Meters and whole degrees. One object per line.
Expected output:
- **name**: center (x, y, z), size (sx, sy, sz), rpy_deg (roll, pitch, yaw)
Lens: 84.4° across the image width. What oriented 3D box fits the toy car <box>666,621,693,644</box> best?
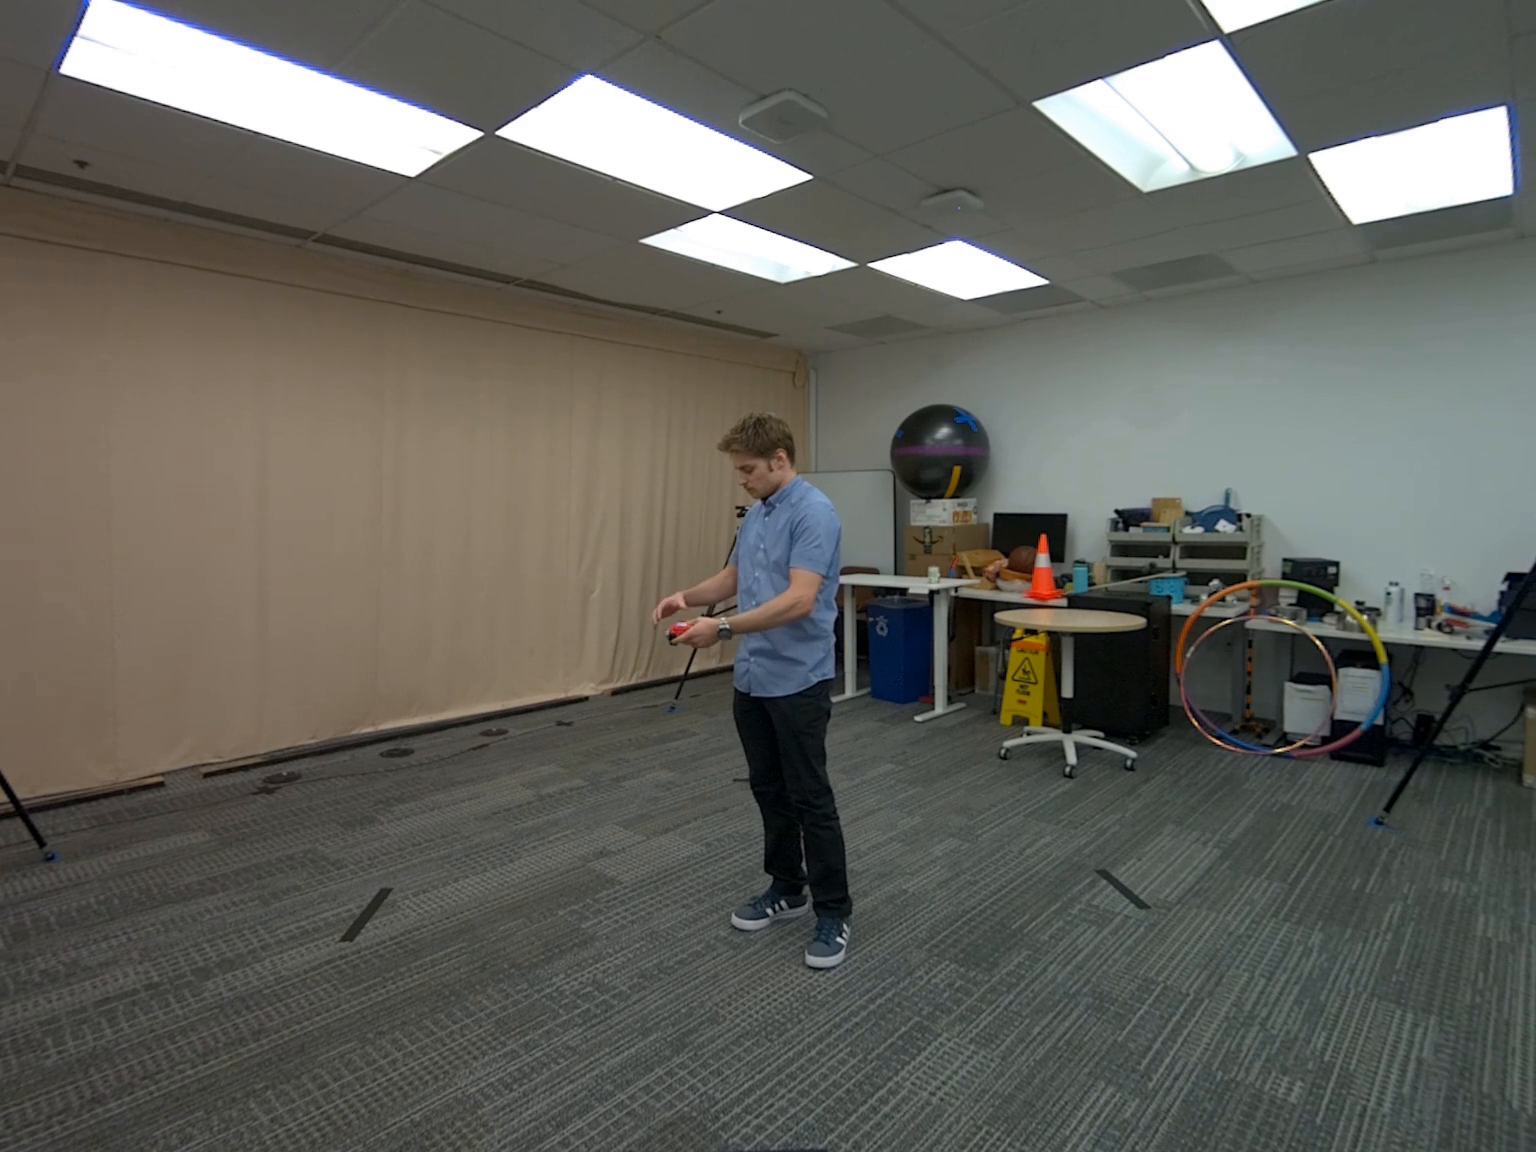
- **toy car**: center (-0.251, 0.195, 2.701), size (0.130, 0.083, 0.256), rpy_deg (4, 3, -4)
